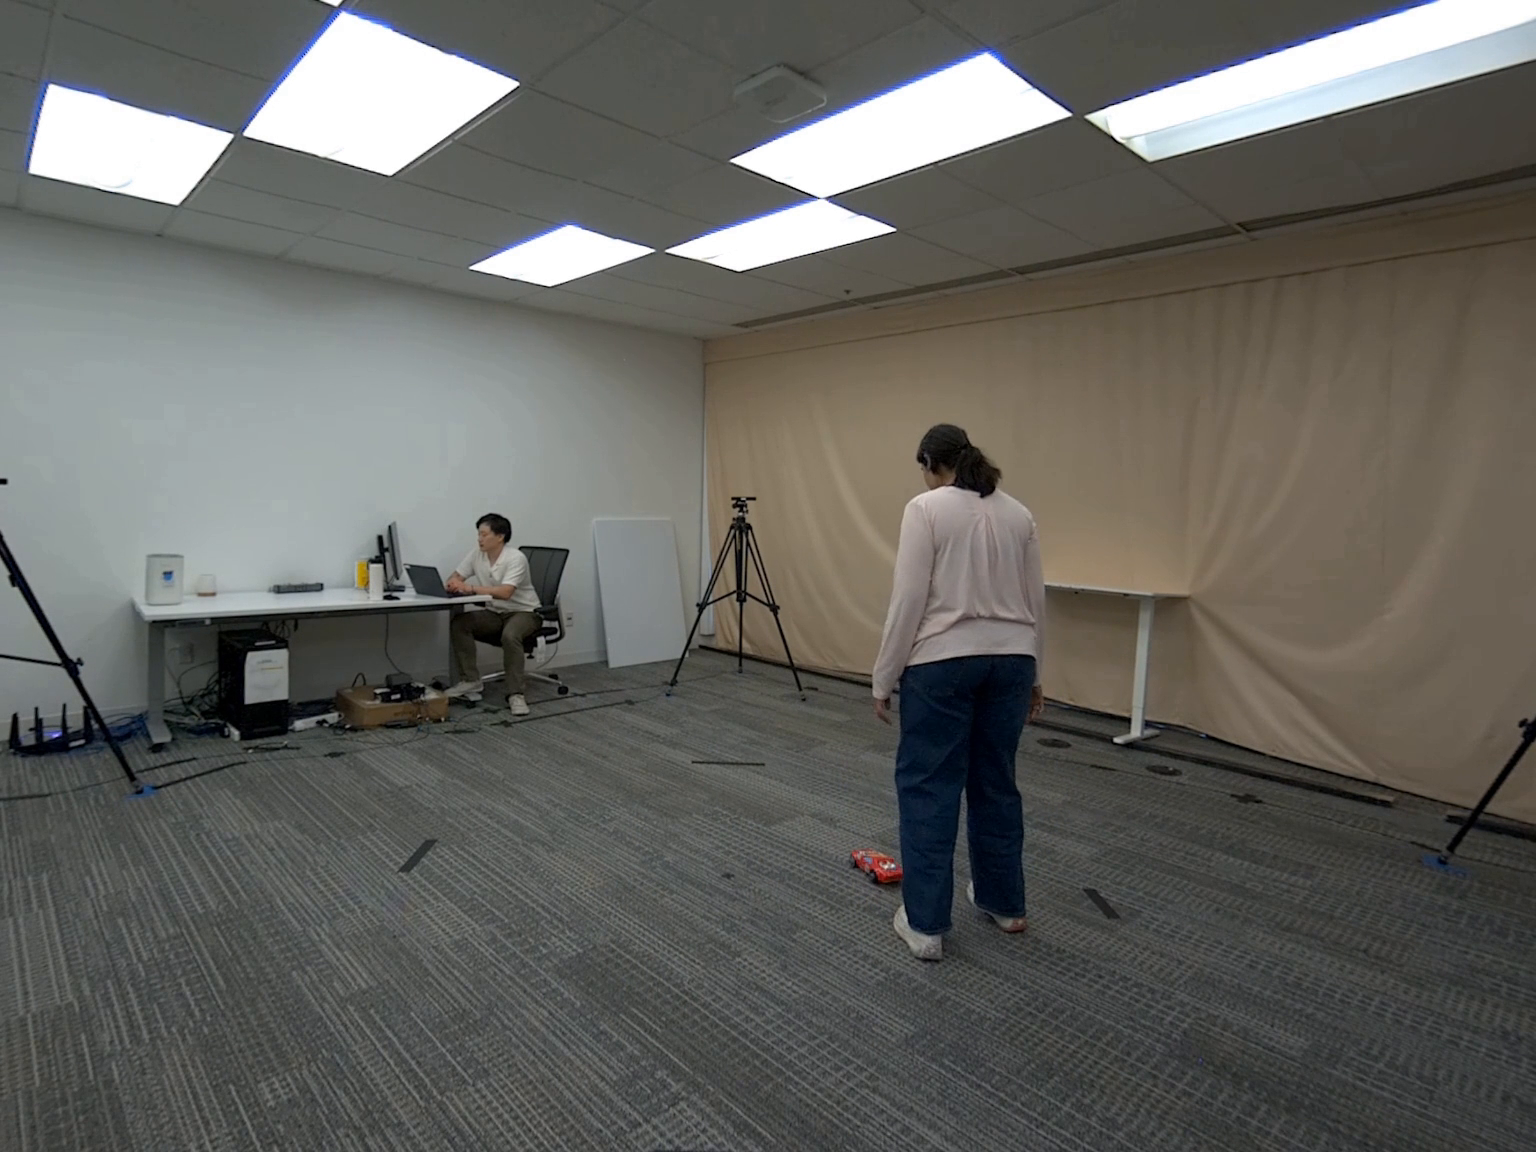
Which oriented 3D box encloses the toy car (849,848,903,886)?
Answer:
[{"bbox_3d":[0.405,1.086,3.138,0.128,0.083,0.258,1,-6,-24],"label":"toy car"}]
